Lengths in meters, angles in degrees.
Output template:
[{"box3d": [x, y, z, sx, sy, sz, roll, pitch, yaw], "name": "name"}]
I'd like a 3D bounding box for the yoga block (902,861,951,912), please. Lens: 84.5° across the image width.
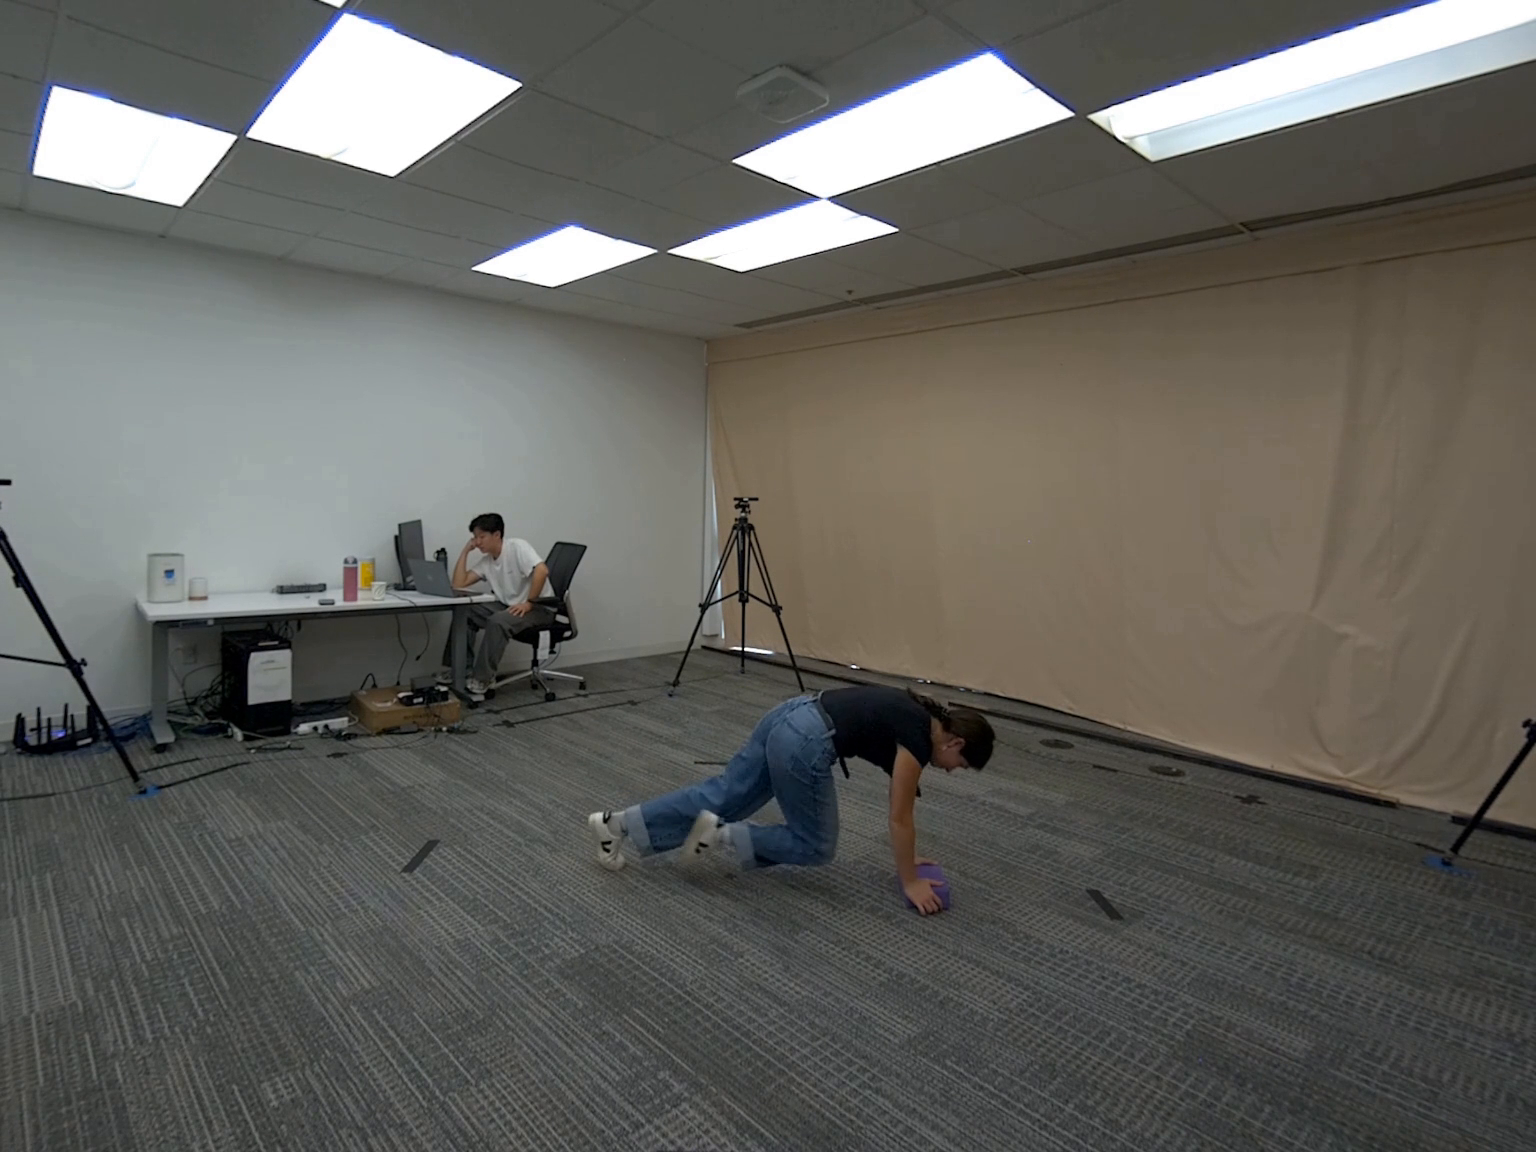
[{"box3d": [0.548, 1.101, 2.985, 0.149, 0.076, 0.229, 0, 4, 2], "name": "yoga block"}]
